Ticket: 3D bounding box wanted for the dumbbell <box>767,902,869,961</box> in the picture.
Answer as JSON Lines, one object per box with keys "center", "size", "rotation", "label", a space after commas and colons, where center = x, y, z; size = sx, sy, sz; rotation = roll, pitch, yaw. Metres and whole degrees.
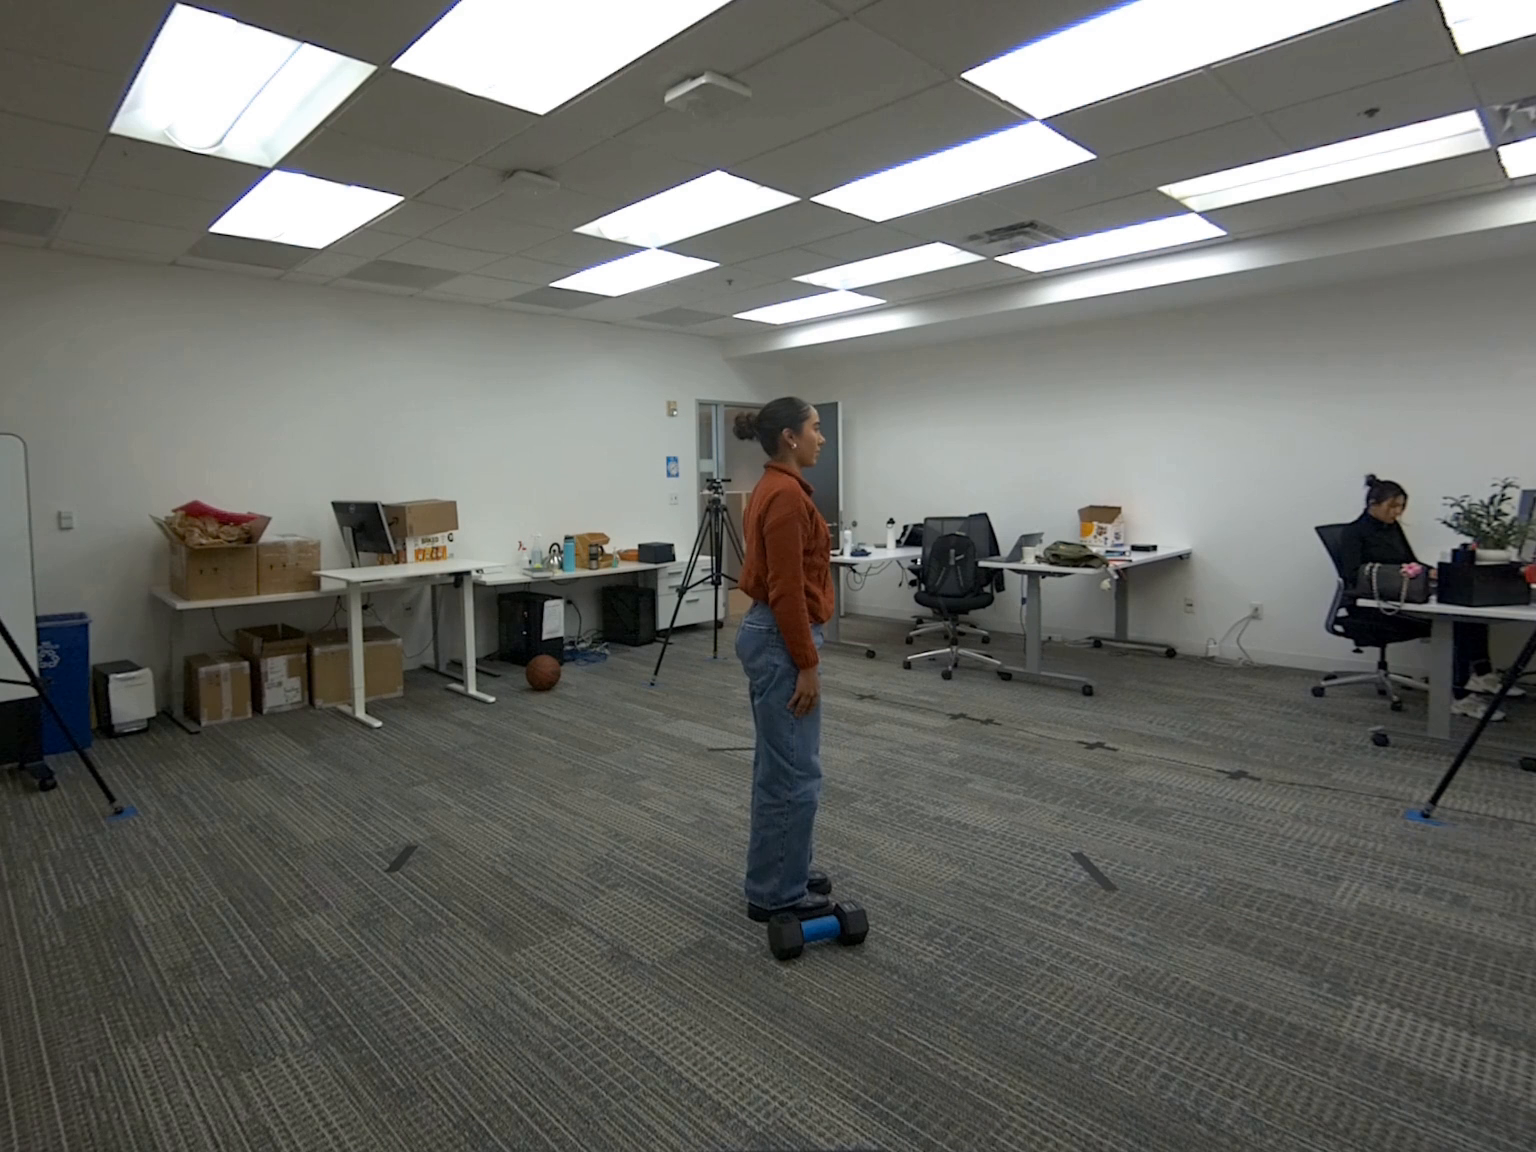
{"center": [0.158, 1.060, 2.534], "size": [0.289, 0.126, 0.108], "rotation": [-2, -25, -19], "label": "dumbbell"}
